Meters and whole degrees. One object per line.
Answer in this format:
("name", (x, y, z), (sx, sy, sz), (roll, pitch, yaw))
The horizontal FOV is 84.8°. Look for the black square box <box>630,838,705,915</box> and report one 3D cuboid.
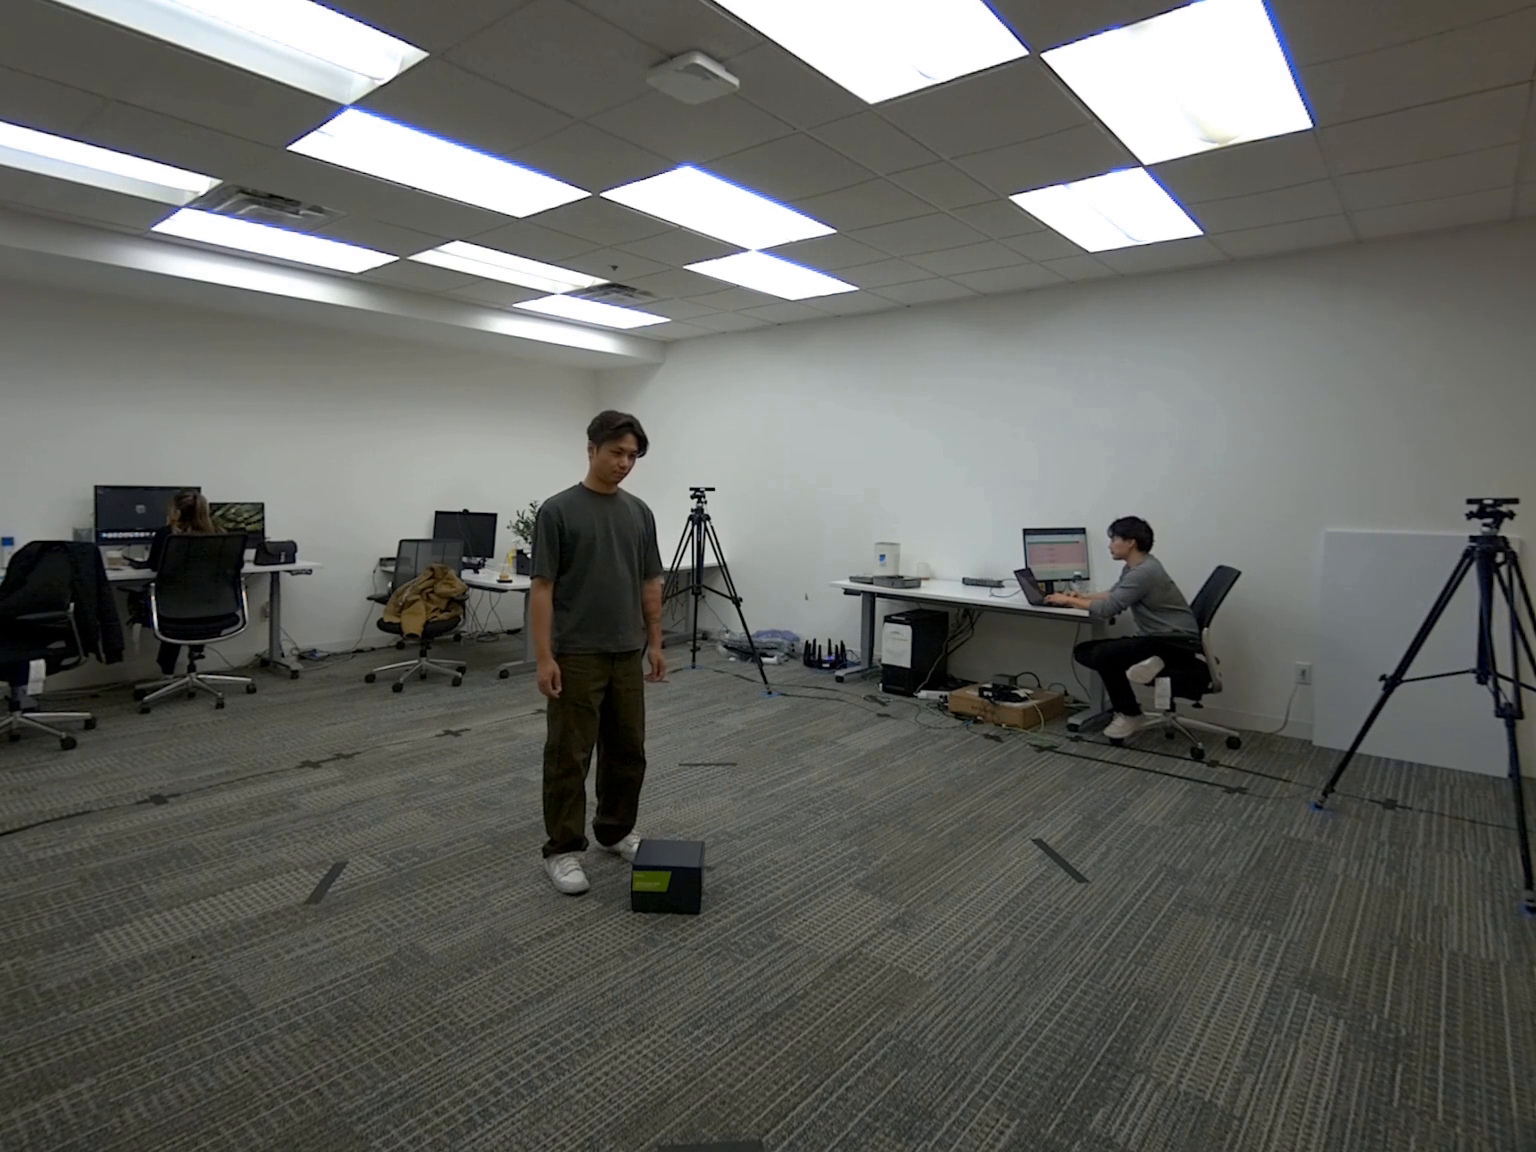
("black square box", (-0.341, 1.003, 2.868), (0.228, 0.155, 0.217), (1, 4, 0))
